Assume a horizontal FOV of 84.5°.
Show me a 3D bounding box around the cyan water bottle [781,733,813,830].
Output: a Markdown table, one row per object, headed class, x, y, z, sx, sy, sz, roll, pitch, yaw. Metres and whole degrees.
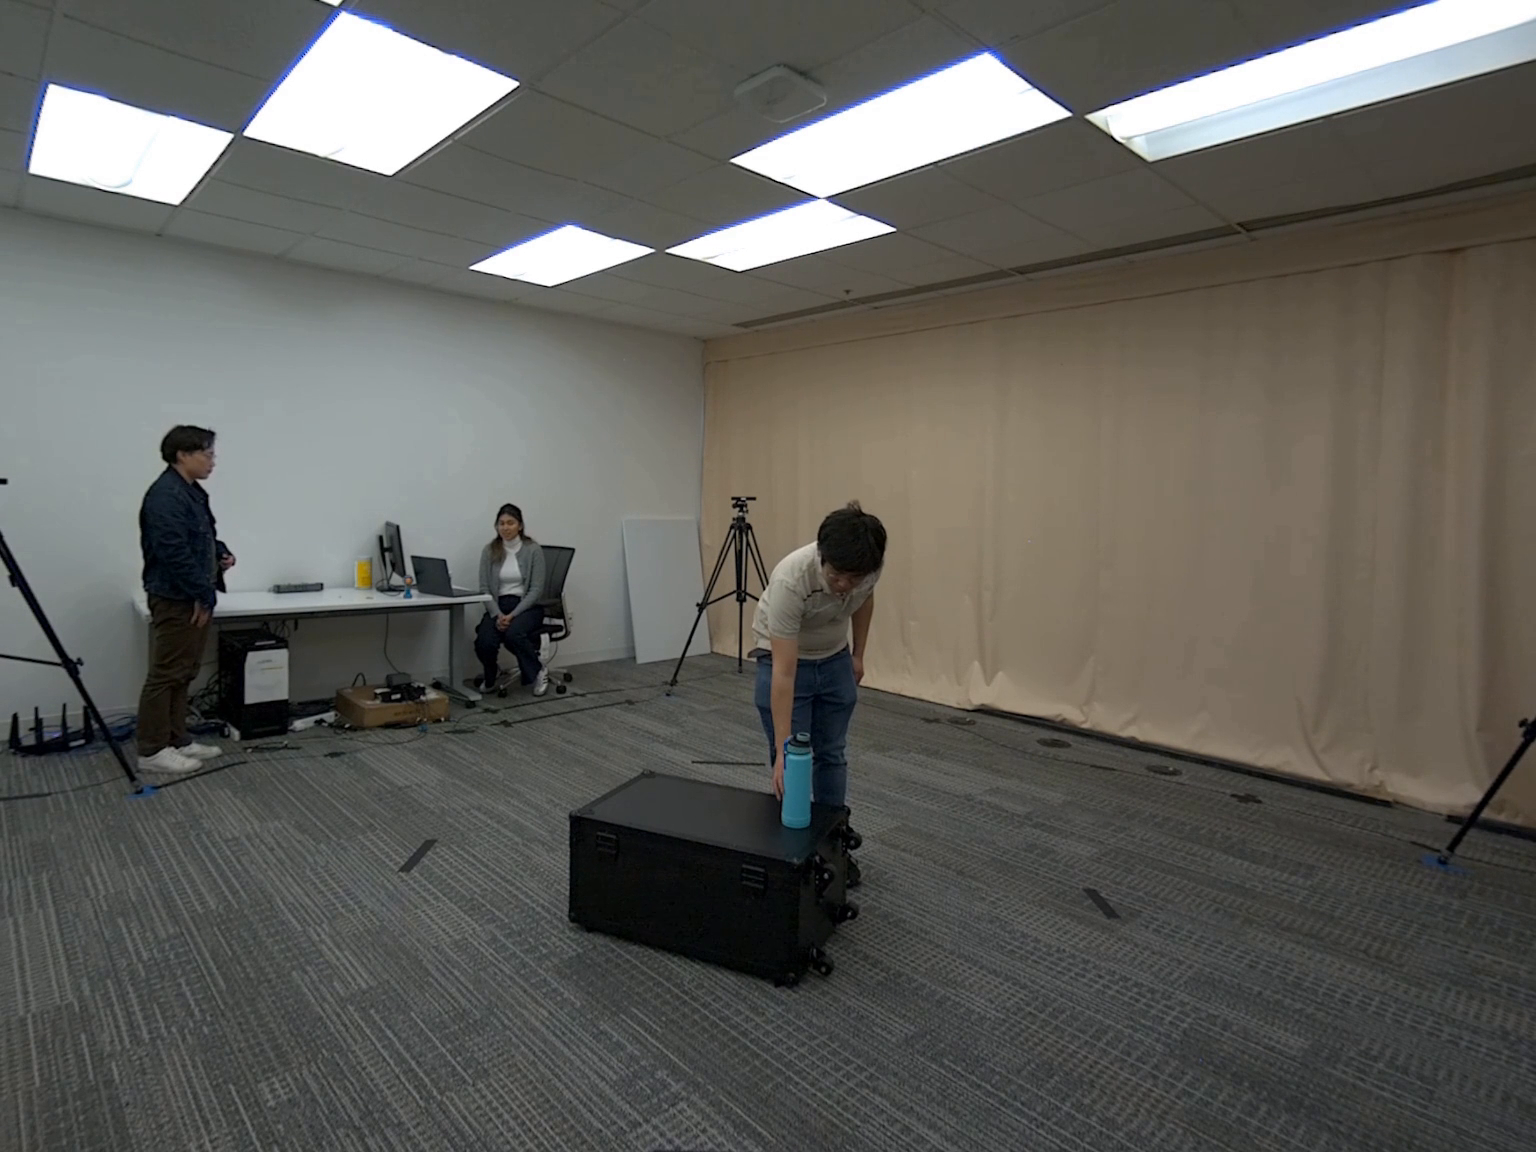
| class | x | y | z | sx | sy | sz | roll | pitch | yaw |
| --- | --- | --- | --- | --- | --- | --- | --- | --- | --- |
| cyan water bottle | 0.078 | 0.641 | 2.639 | 0.092 | 0.283 | 0.092 | 1 | 3 | -1 |
